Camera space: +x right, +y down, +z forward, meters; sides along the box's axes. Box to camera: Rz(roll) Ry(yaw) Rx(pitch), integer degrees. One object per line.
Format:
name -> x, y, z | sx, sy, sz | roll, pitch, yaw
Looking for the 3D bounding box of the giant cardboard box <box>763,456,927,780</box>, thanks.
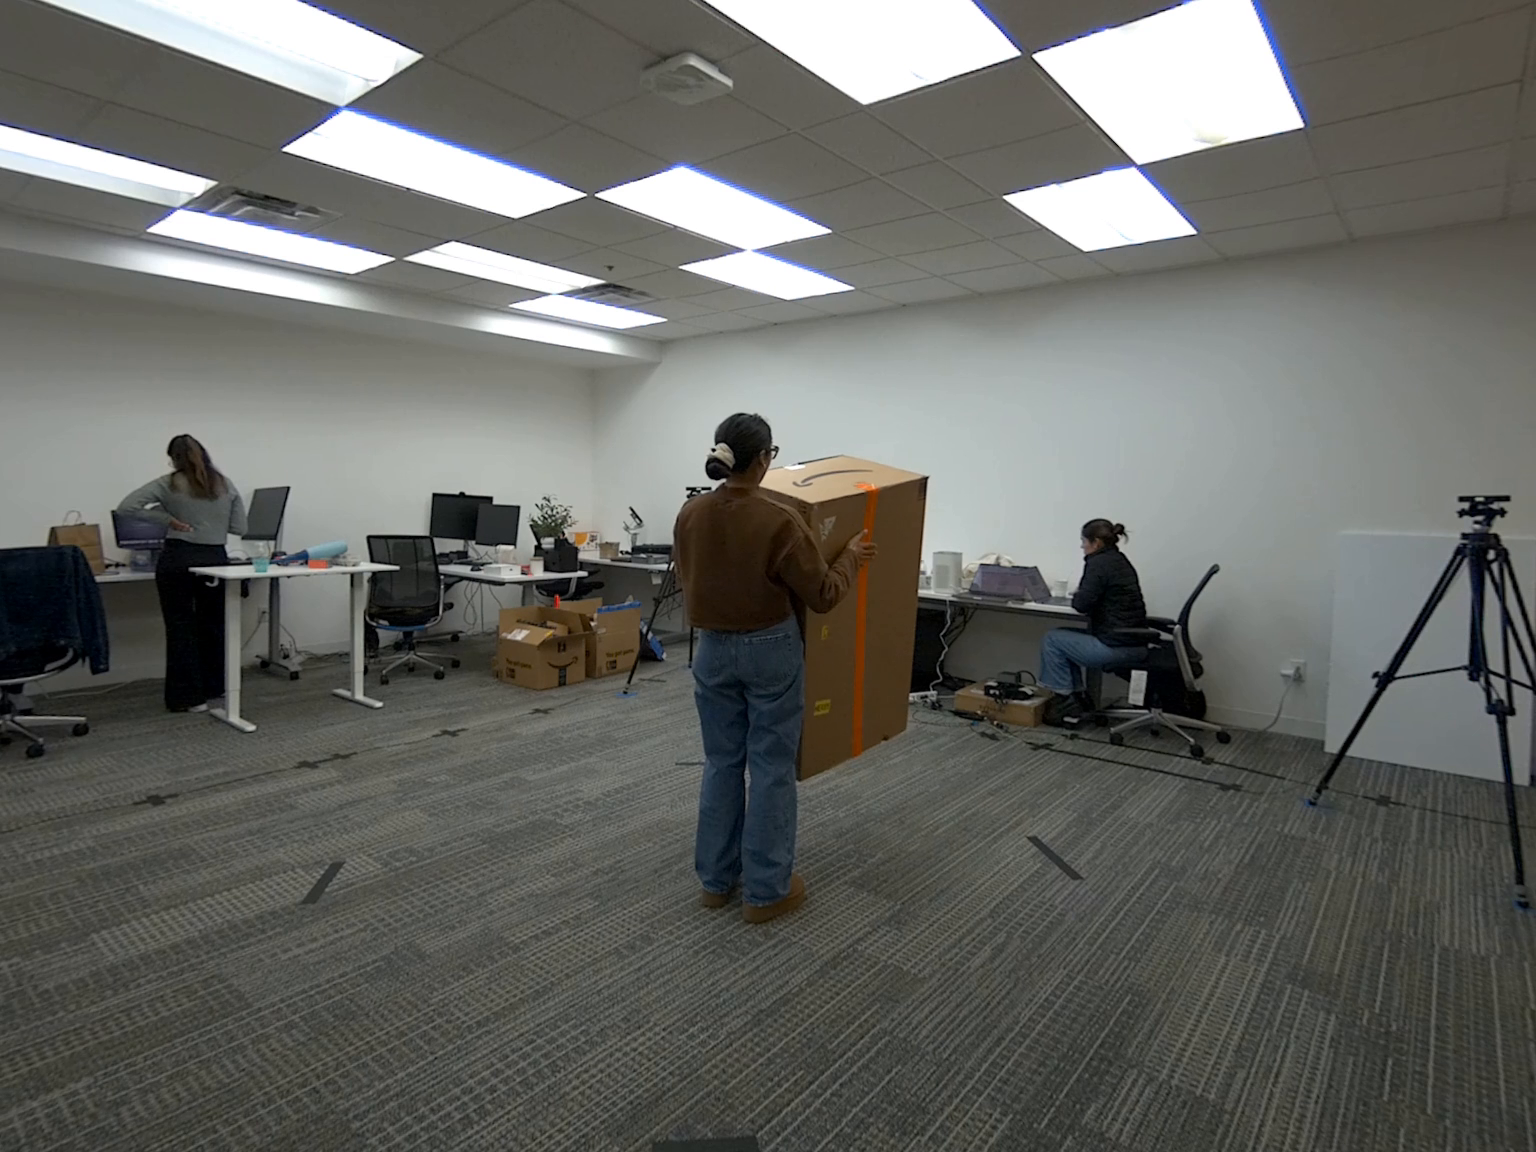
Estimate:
giant cardboard box -> 0.200, 0.124, 3.159 | 0.564, 1.008, 0.443 | -14, 23, -37
